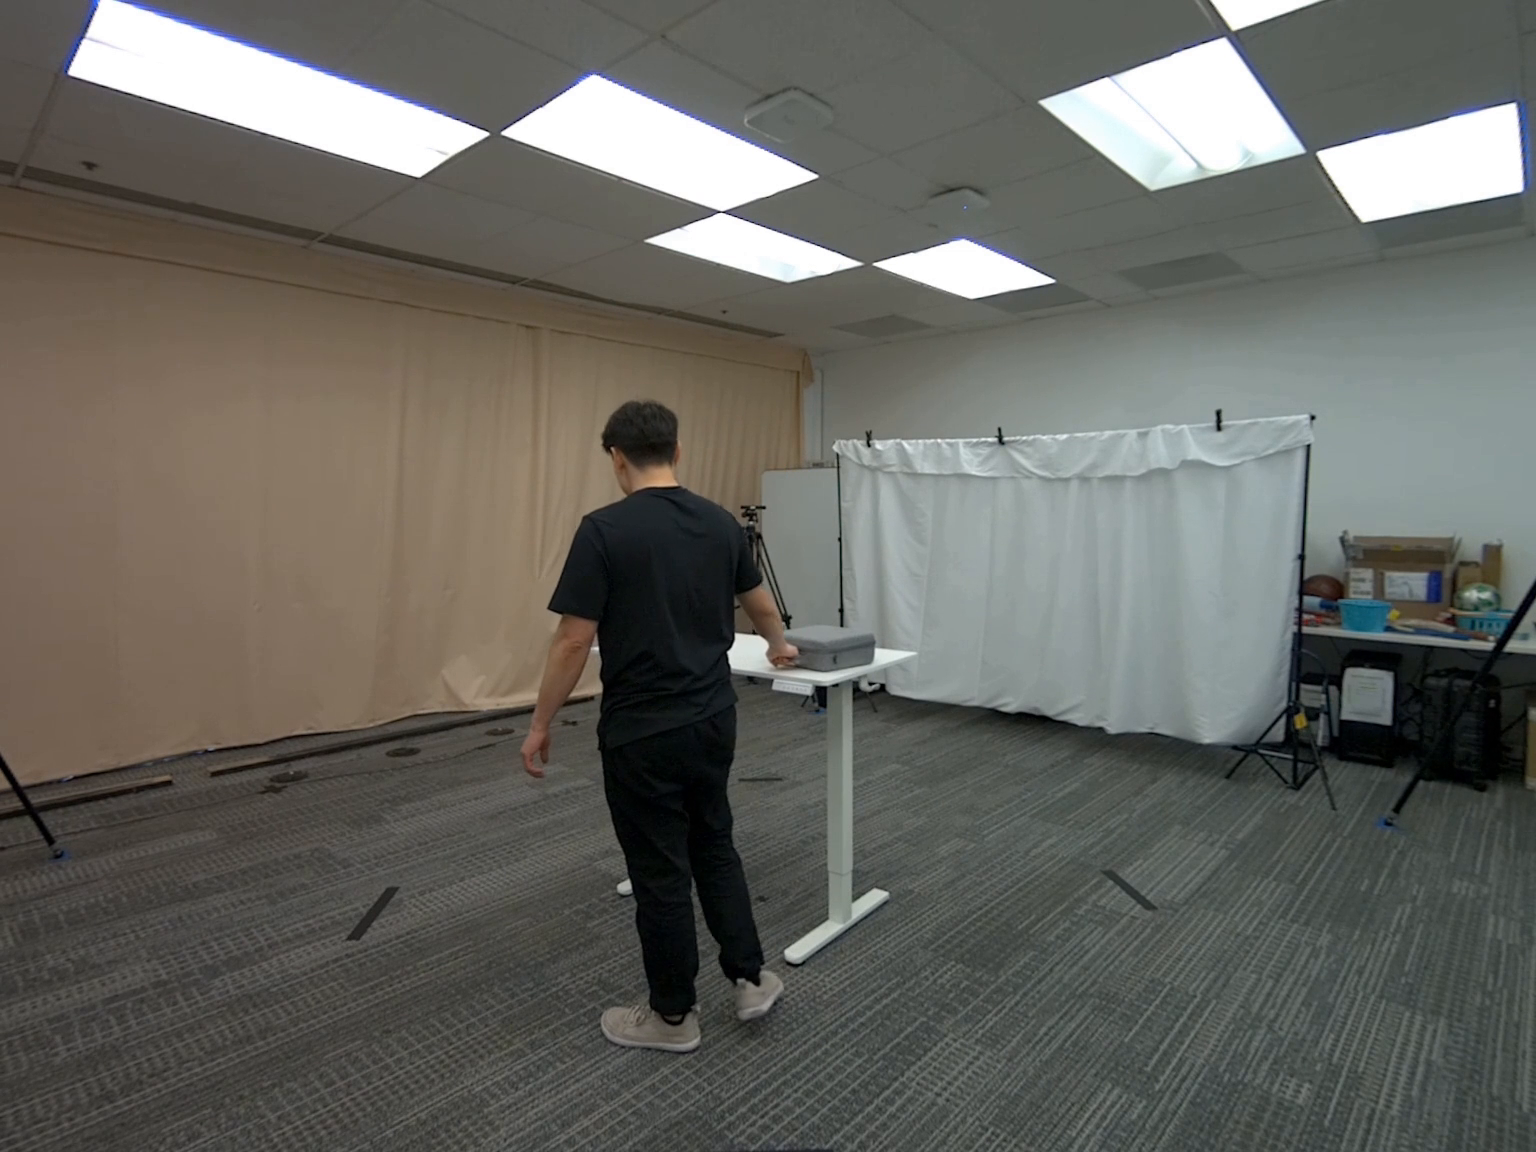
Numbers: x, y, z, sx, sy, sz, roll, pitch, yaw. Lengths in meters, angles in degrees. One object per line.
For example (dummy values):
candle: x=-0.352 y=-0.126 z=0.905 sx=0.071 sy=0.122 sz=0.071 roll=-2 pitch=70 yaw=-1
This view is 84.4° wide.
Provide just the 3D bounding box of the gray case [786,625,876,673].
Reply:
gray case: x=0.179 y=0.229 z=2.701 sx=0.253 sy=0.104 sz=0.265 roll=-6 pitch=8 yaw=-40
